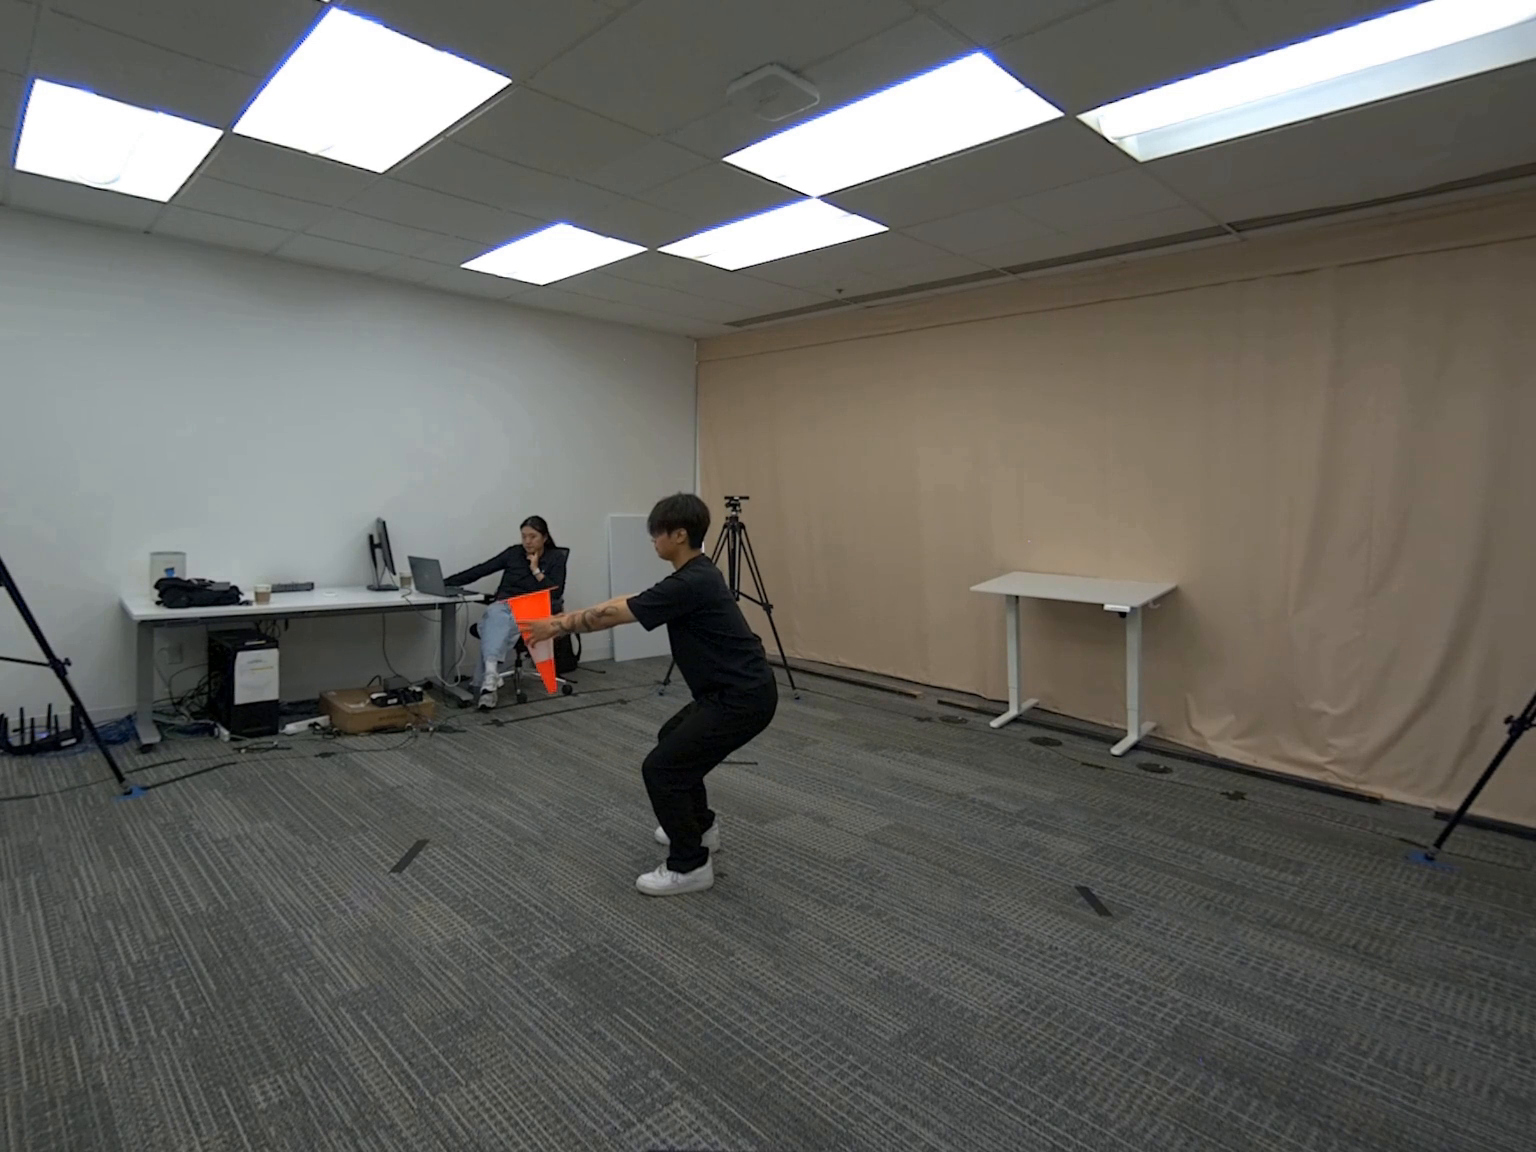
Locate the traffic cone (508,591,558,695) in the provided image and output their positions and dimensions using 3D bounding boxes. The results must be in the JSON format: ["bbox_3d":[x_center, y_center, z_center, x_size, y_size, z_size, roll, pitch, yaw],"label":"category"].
[{"bbox_3d":[-0.869,0.255,3.190,0.203,0.383,0.205,-15,2,2],"label":"traffic cone"}]
